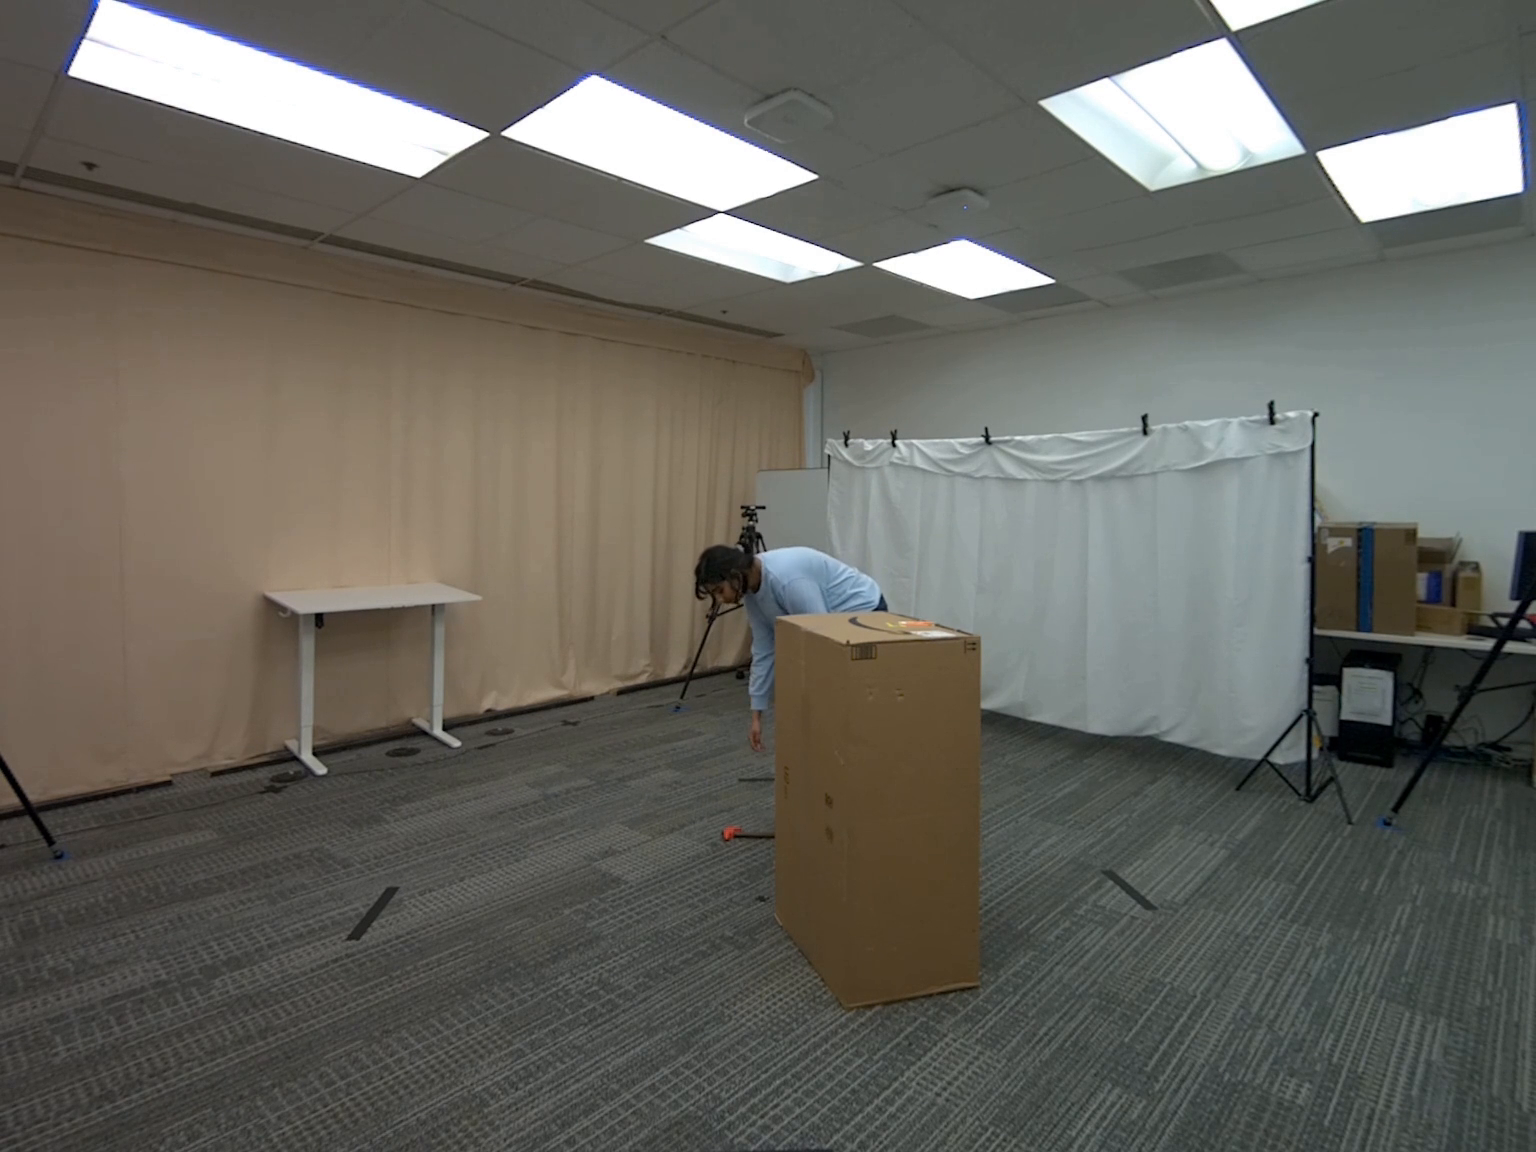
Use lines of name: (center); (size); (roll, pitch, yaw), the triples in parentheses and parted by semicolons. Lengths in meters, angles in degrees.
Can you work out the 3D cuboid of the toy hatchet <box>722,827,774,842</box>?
toy hatchet: (-0.063, 1.086, 3.573); (0.266, 0.029, 0.133); (1, 2, -13)
